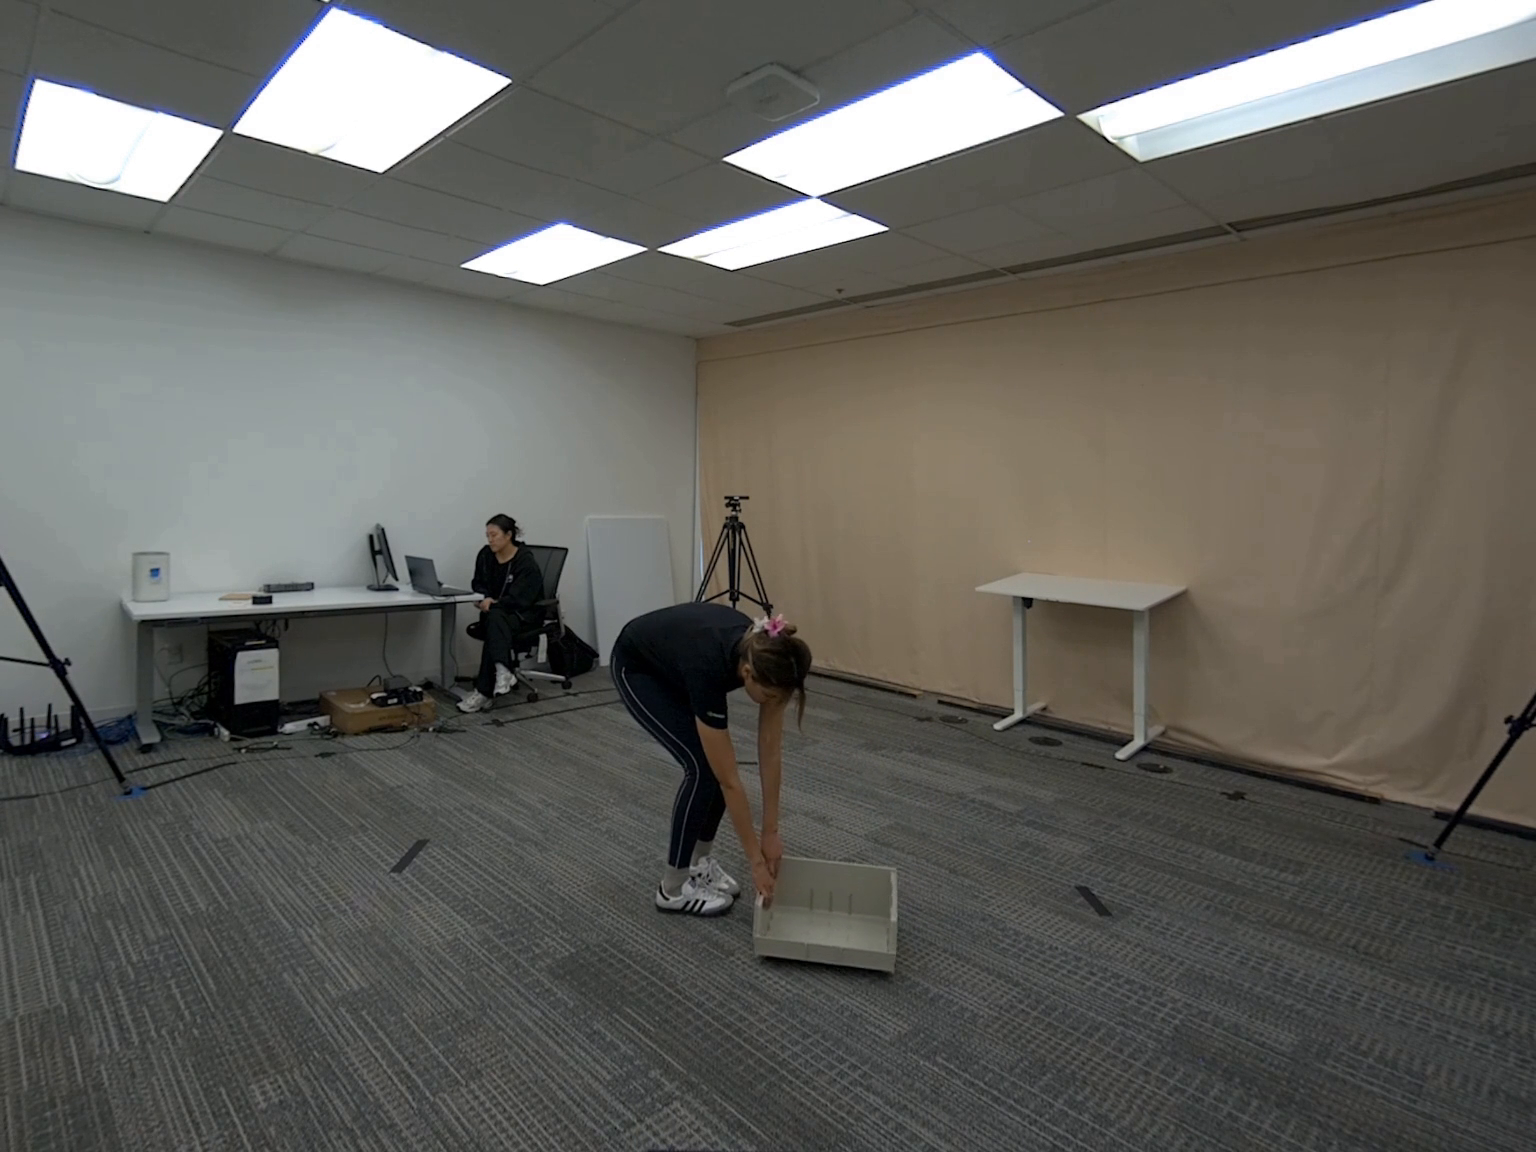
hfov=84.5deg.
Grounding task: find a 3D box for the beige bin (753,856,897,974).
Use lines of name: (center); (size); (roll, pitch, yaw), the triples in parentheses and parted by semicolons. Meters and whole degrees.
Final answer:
beige bin: (0.181, 1.065, 2.639); (0.425, 0.188, 0.375); (1, 4, 8)
